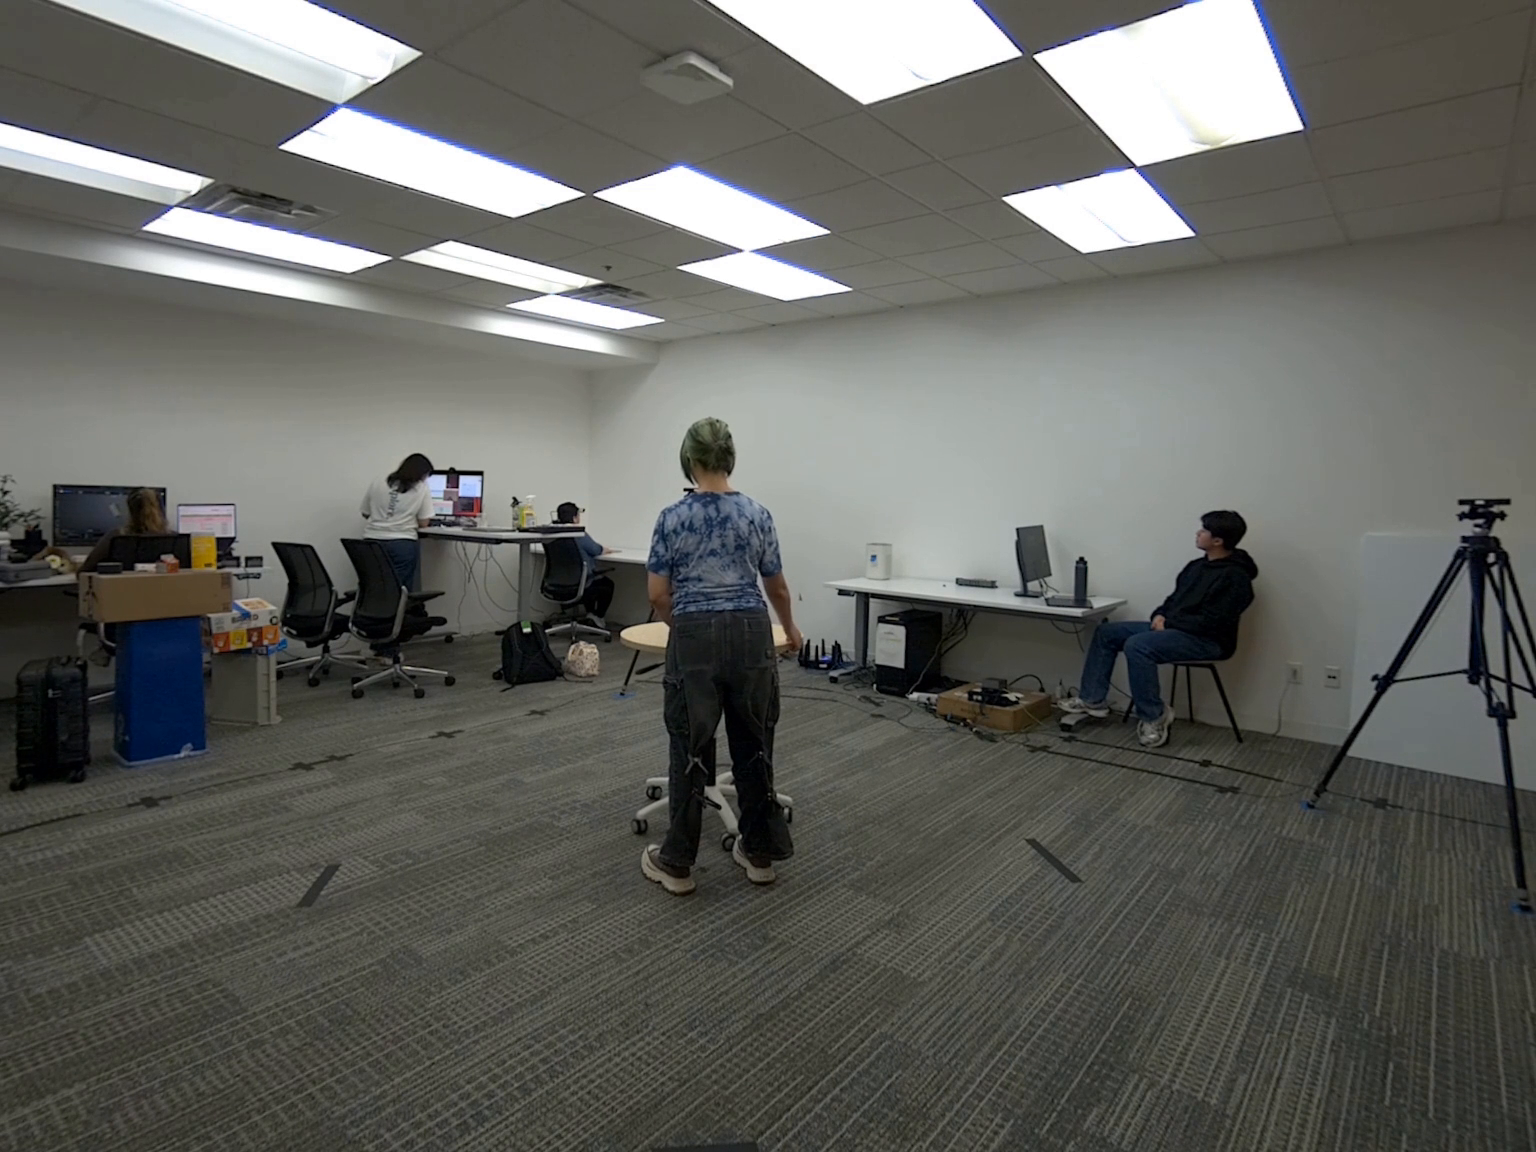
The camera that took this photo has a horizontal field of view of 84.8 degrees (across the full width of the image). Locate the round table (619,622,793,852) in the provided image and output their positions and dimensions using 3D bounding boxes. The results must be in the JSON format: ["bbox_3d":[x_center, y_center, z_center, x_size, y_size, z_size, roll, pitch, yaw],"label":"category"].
[{"bbox_3d":[-0.261,0.632,3.586,0.763,0.792,0.767,1,4,-2],"label":"round table"}]
